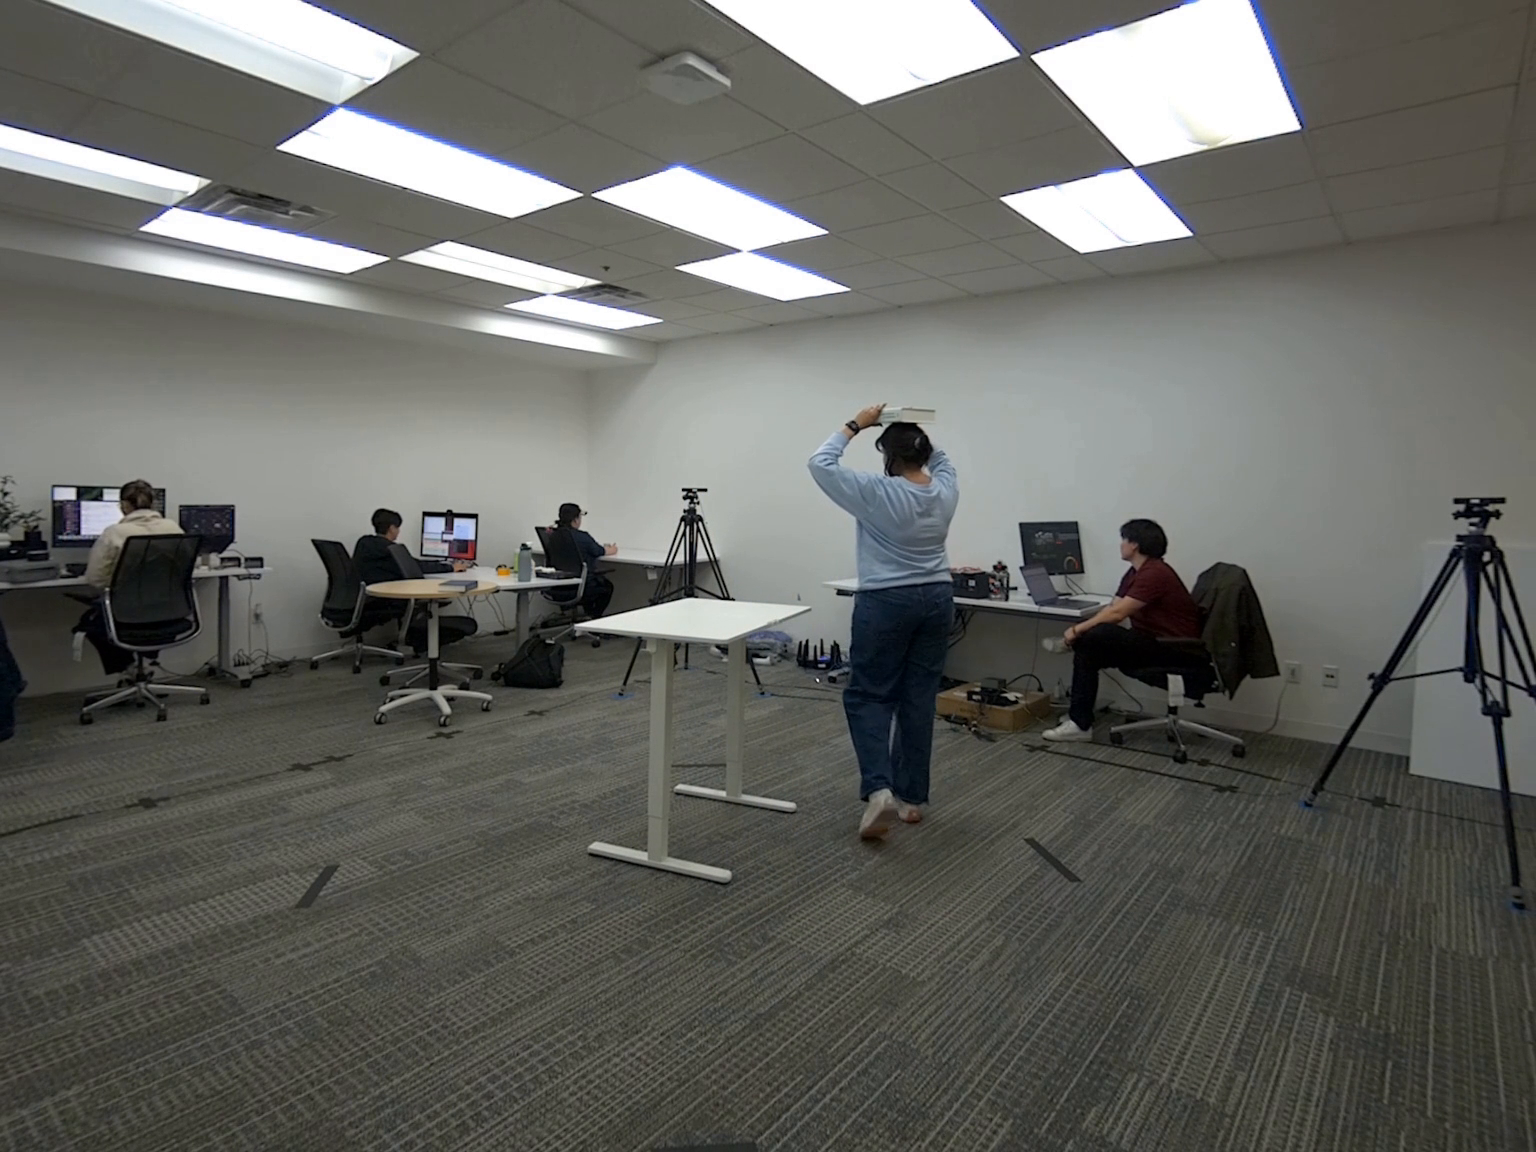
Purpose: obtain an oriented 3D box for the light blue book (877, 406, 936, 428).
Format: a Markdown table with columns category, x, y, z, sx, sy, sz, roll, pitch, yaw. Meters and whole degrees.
| category | x | y | z | sx | sy | sz | roll | pitch | yaw |
| --- | --- | --- | --- | --- | --- | --- | --- | --- | --- |
| light blue book | 0.547 | -0.683 | 3.613 | 0.187 | 0.059 | 0.269 | -2 | 8 | -27 |
